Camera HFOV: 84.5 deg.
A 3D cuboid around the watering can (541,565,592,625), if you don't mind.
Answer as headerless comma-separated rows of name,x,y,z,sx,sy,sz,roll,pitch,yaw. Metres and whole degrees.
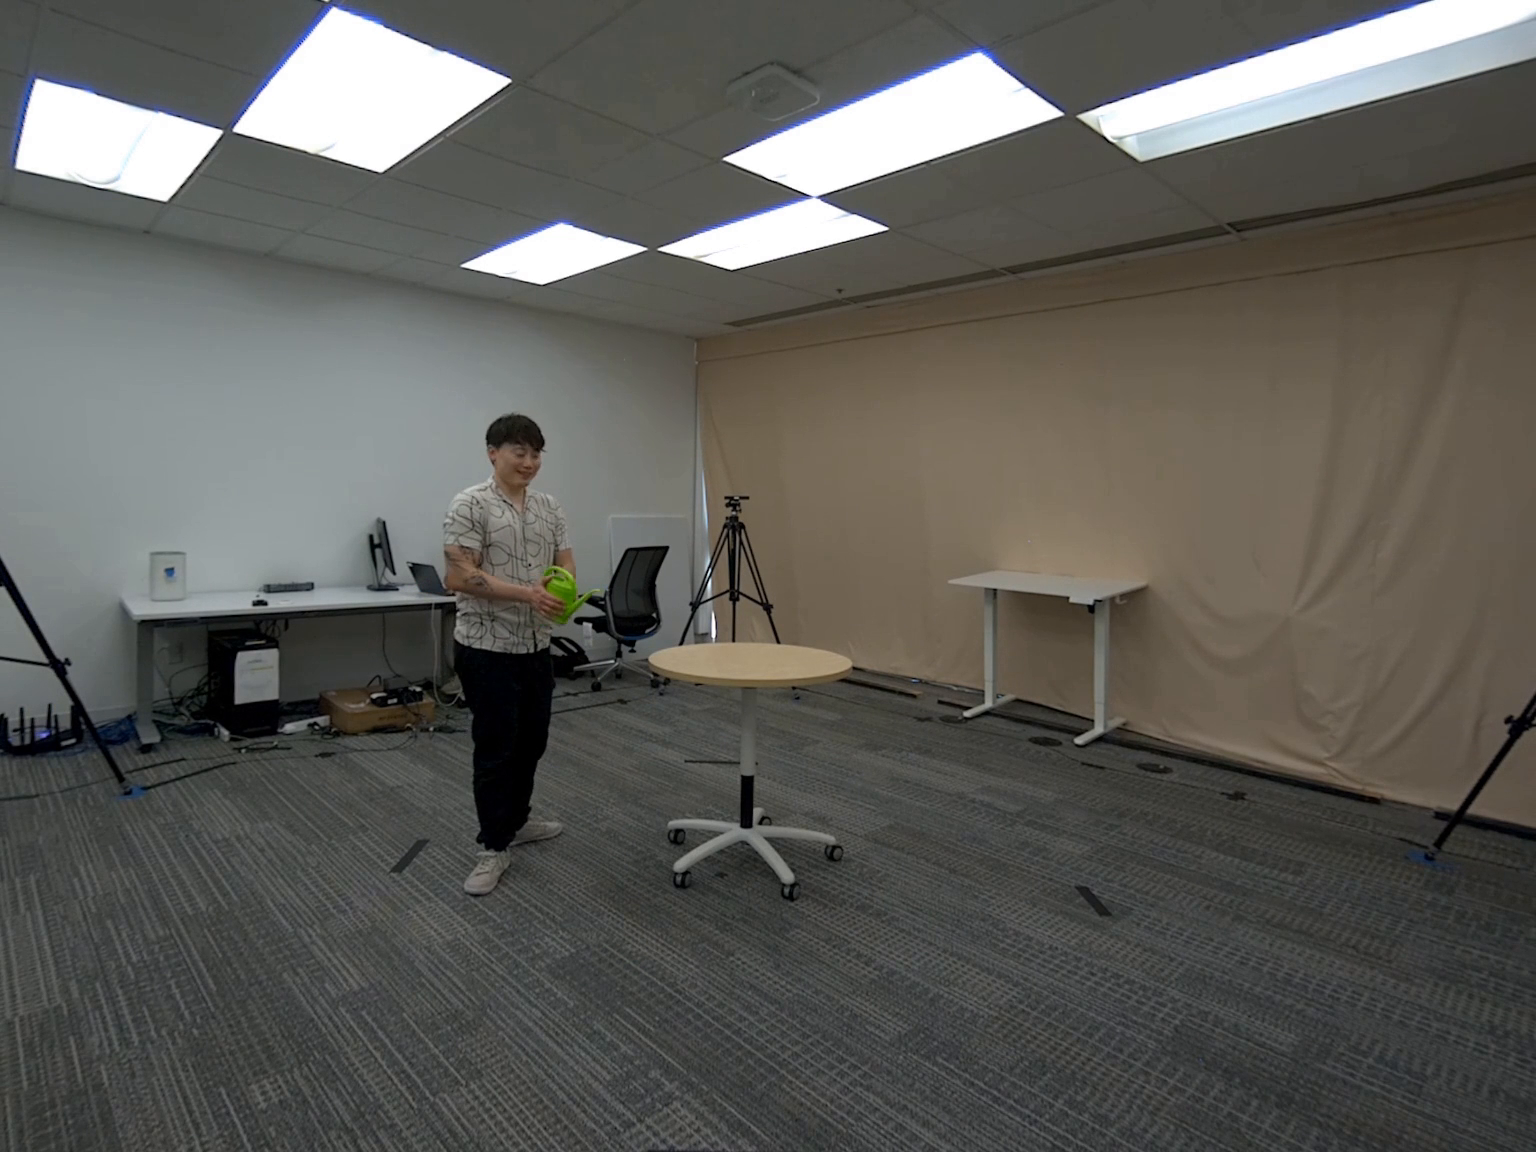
watering can,-0.720,0.079,2.885,0.095,0.176,0.287,9,15,-44
